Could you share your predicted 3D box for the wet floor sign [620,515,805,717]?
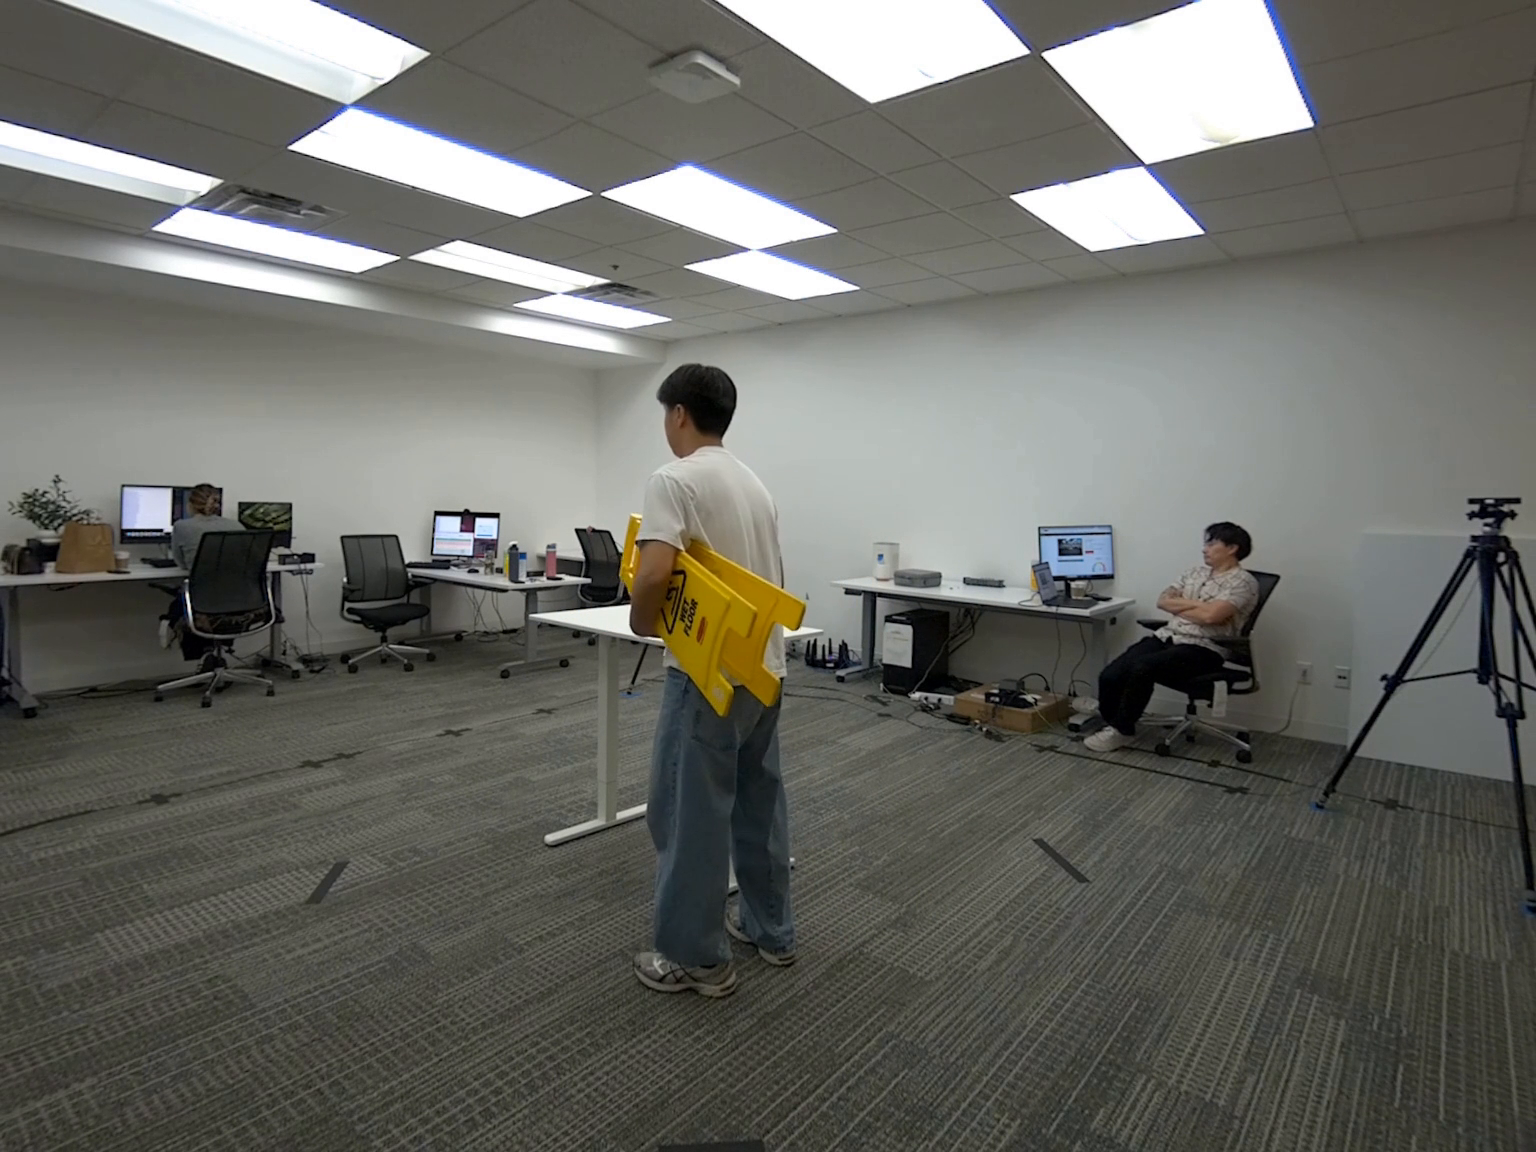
[{"bbox_3d":[-0.222,0.054,2.187,0.281,0.278,0.674,-5,29,-40],"label":"wet floor sign"}]
